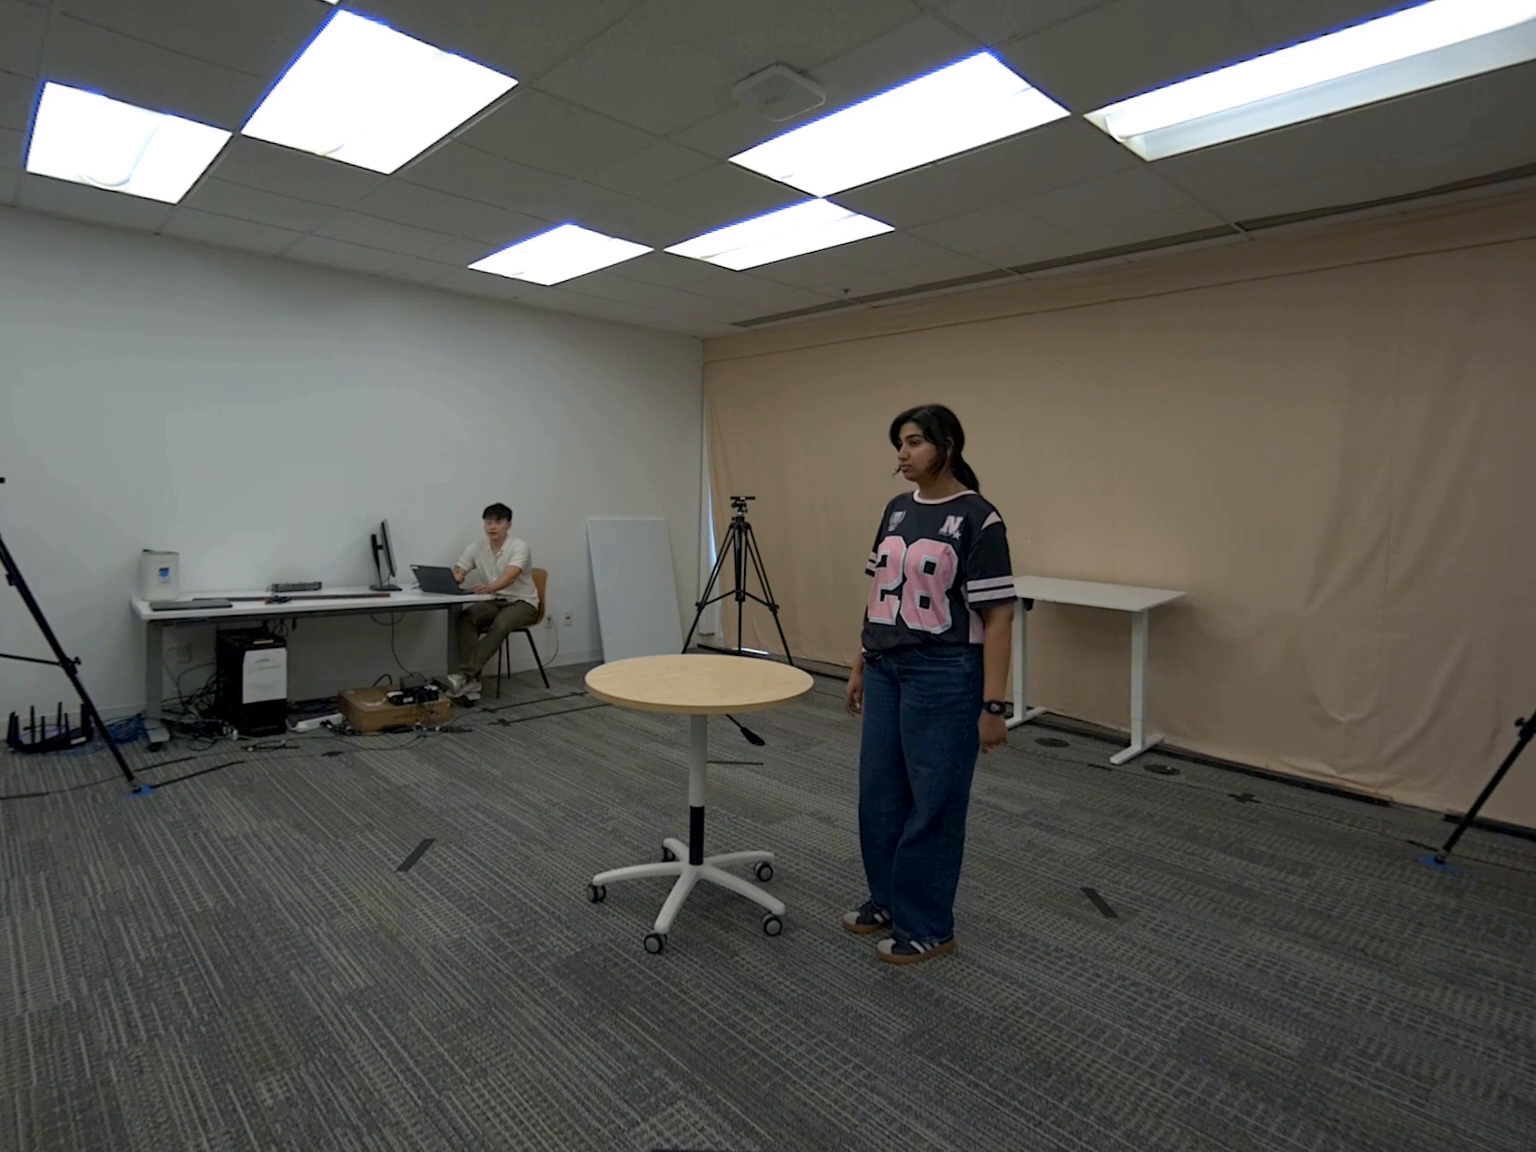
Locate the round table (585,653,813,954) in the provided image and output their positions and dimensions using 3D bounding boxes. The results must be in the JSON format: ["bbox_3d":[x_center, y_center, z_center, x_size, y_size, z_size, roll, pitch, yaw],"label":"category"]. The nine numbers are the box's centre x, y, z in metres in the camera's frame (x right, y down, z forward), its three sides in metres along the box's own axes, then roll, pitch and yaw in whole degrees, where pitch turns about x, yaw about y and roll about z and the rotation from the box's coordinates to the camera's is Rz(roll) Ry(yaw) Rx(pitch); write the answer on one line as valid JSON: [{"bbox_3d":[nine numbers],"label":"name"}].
[{"bbox_3d":[-0.245,0.737,2.873,0.763,0.791,0.767,1,5,-1],"label":"round table"}]
